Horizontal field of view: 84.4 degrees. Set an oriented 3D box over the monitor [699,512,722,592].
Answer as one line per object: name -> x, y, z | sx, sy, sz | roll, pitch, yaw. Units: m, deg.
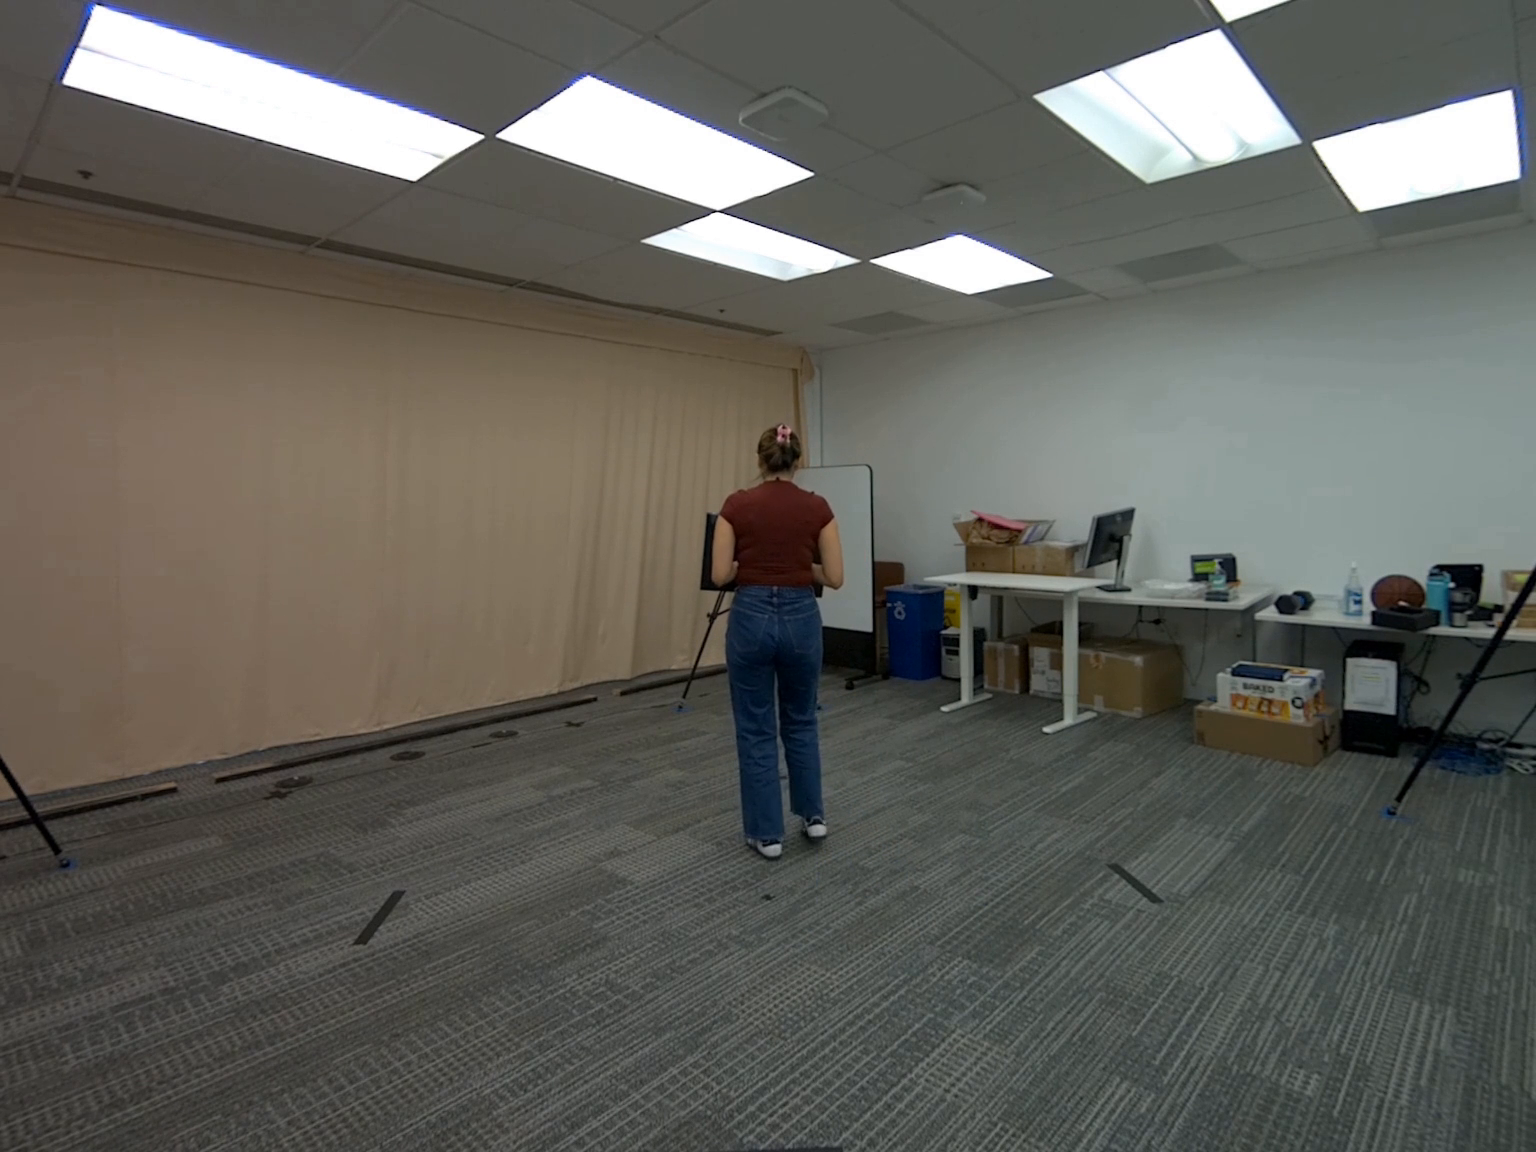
monitor -> -0.015, 0.011, 3.565 | 0.535, 0.520, 0.189 | 4, 7, -6
